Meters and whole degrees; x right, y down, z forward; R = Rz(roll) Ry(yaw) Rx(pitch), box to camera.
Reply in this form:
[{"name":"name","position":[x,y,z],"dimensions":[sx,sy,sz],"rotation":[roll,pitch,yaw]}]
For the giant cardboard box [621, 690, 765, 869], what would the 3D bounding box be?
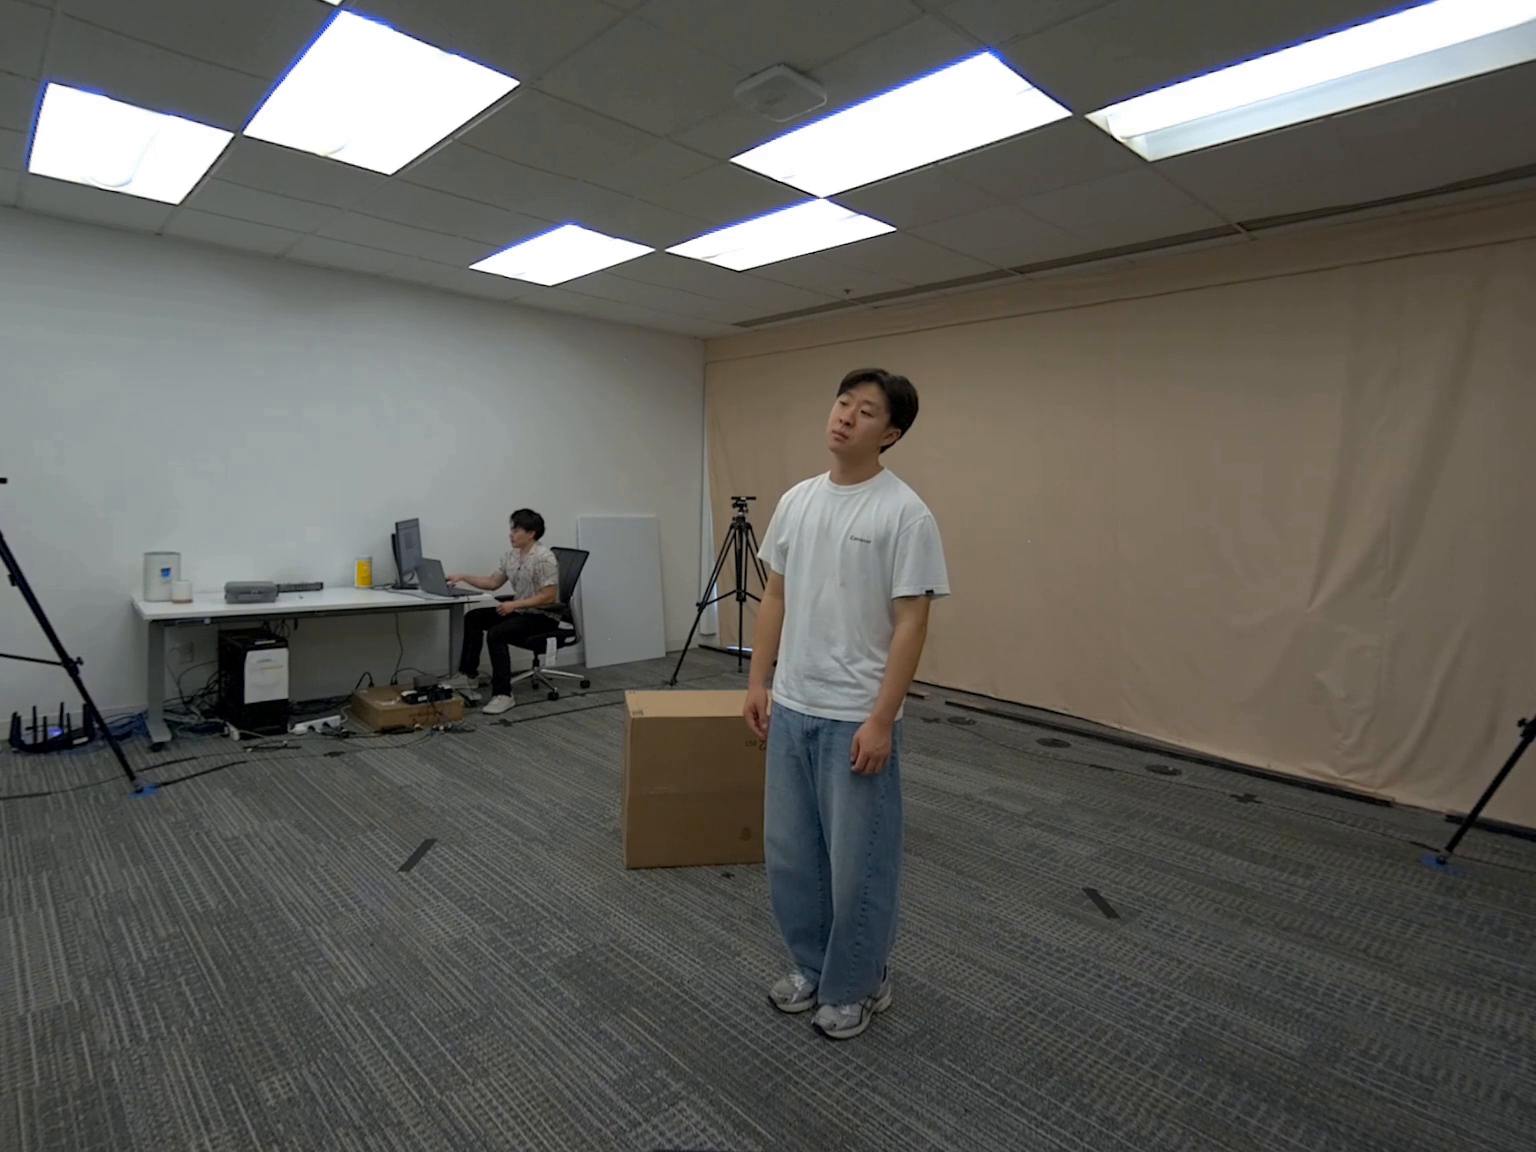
[{"name":"giant cardboard box","position":[-0.072,0.791,3.407],"dimensions":[1.017,0.576,0.431],"rotation":[1,4,-11]}]
